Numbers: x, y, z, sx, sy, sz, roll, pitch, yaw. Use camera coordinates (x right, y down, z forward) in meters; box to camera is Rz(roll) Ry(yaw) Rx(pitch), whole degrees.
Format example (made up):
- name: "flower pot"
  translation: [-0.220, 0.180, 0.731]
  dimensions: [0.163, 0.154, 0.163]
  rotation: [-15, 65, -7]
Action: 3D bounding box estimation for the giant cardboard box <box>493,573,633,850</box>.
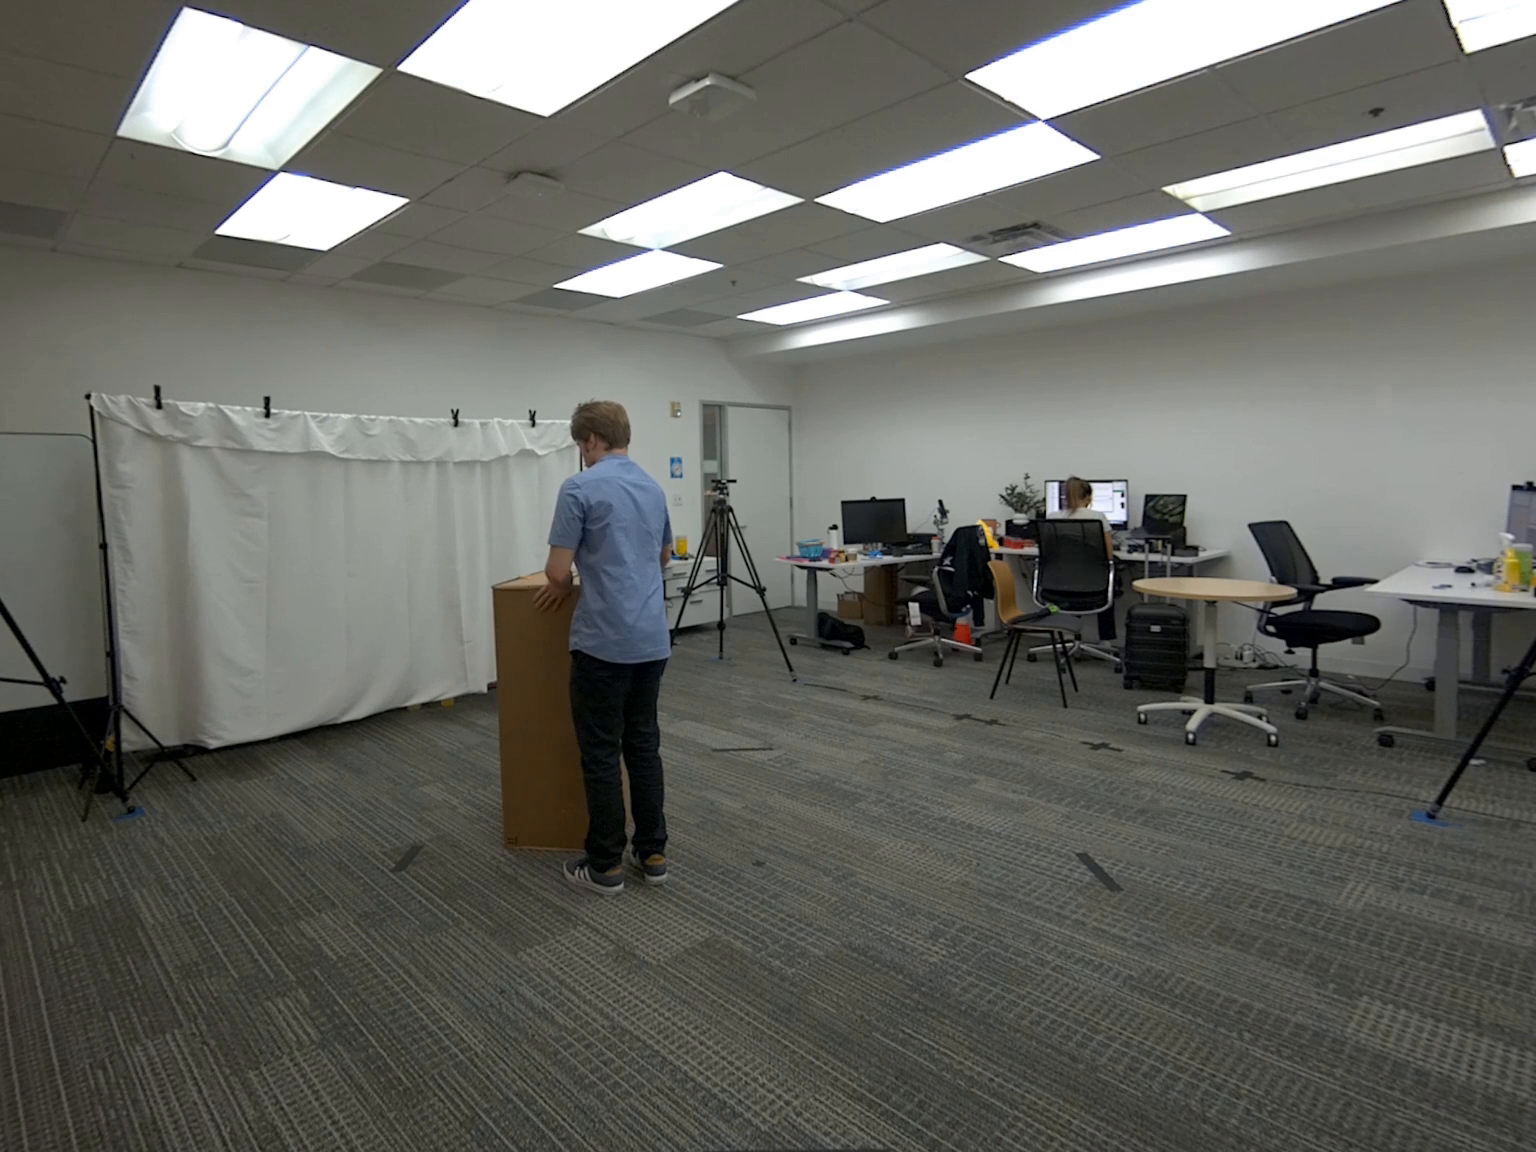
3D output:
- name: "giant cardboard box"
  translation: [-0.798, 0.511, 3.505]
  dimensions: [0.431, 1.022, 0.574]
  rotation: [0, 4, 9]
